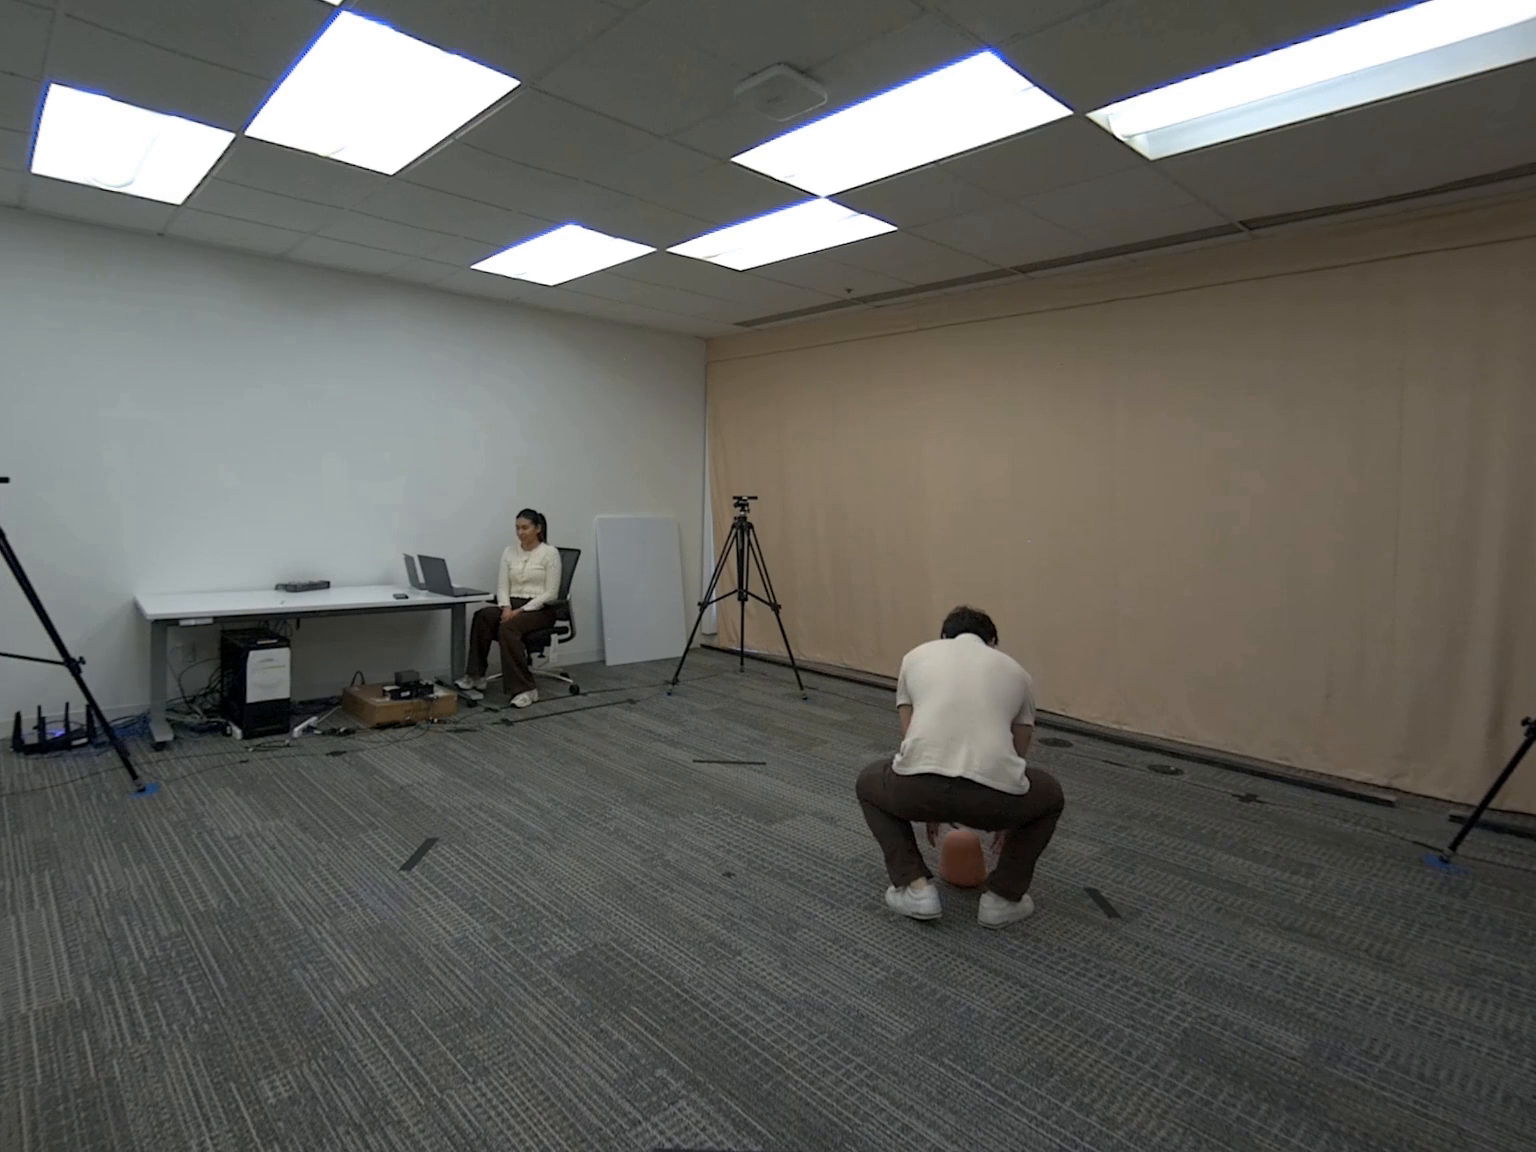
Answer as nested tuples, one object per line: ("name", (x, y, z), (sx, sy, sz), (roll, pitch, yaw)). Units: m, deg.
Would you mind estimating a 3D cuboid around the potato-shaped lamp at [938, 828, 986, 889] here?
("potato-shaped lamp", (0.705, 1.024, 3.093), (0.168, 0.197, 0.168), (4, 7, 30))
